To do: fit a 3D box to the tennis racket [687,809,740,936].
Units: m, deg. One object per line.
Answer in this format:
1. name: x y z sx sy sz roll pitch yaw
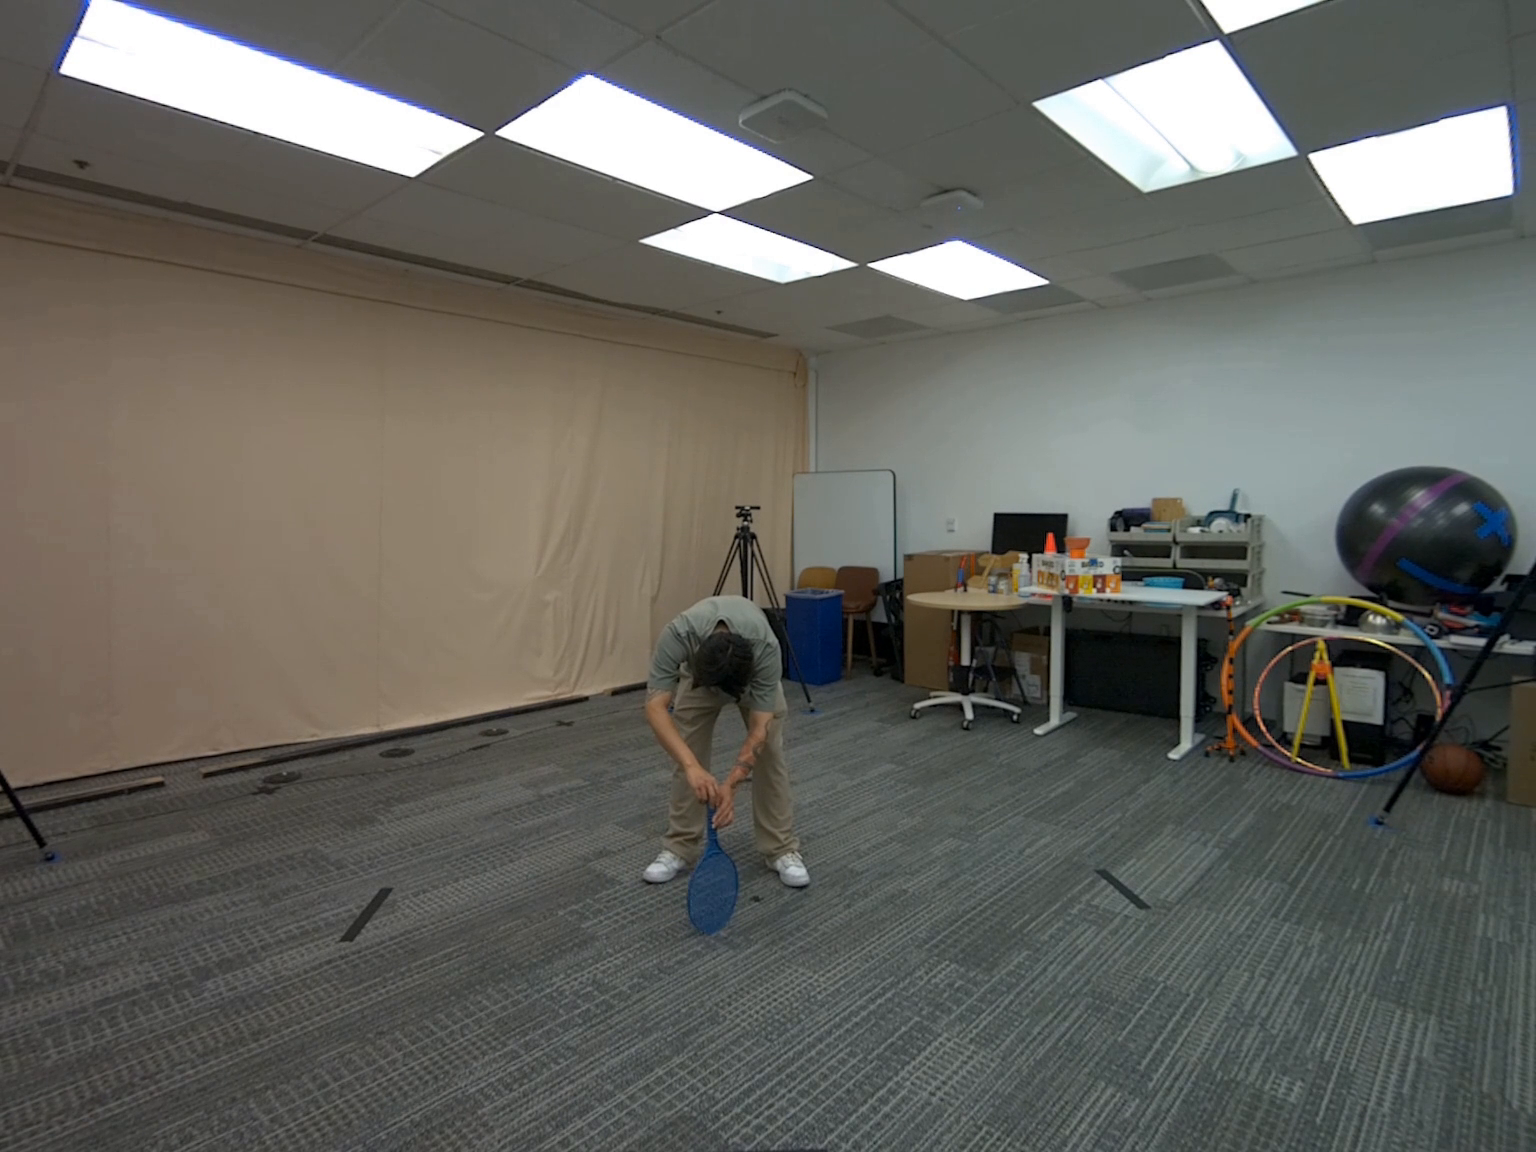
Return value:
1. tennis racket: -0.174 0.947 2.745 0.207 0.433 0.033 -1 0 -41
